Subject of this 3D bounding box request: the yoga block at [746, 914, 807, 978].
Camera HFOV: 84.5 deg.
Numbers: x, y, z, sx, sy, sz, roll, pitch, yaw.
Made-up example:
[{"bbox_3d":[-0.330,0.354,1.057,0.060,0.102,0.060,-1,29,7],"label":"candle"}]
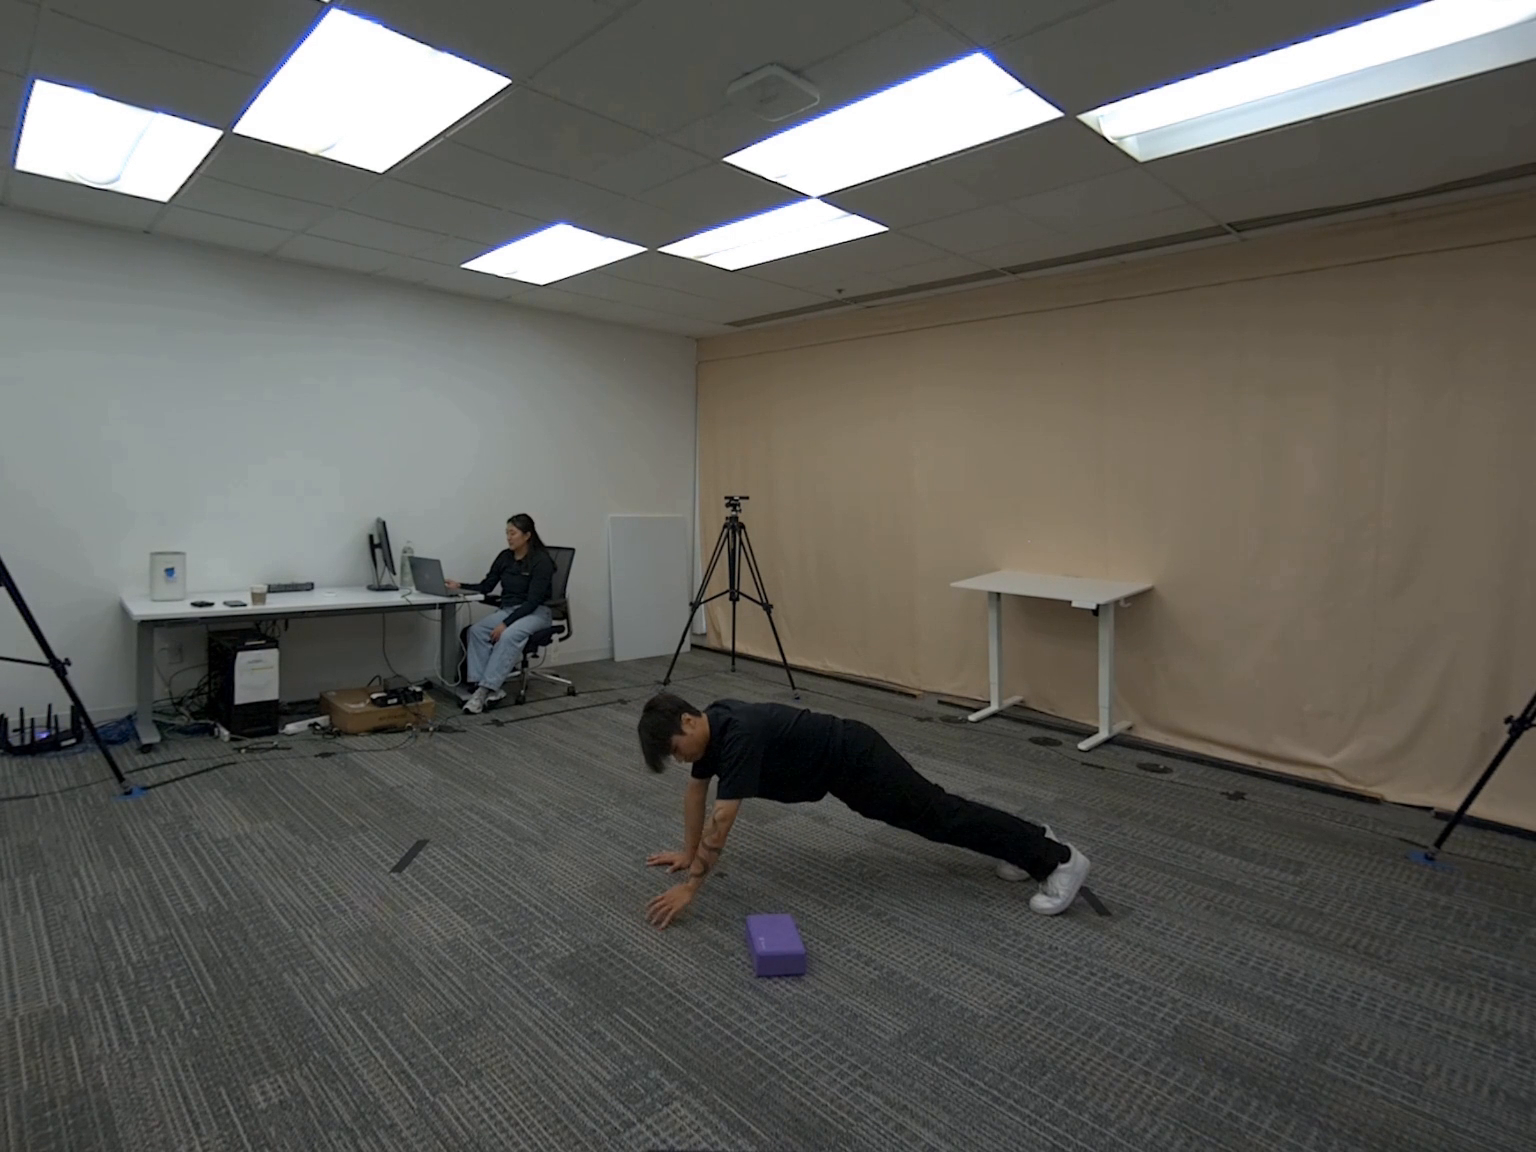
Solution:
[{"bbox_3d":[0.011,1.118,2.555,0.148,0.076,0.231,0,4,-9],"label":"yoga block"}]
